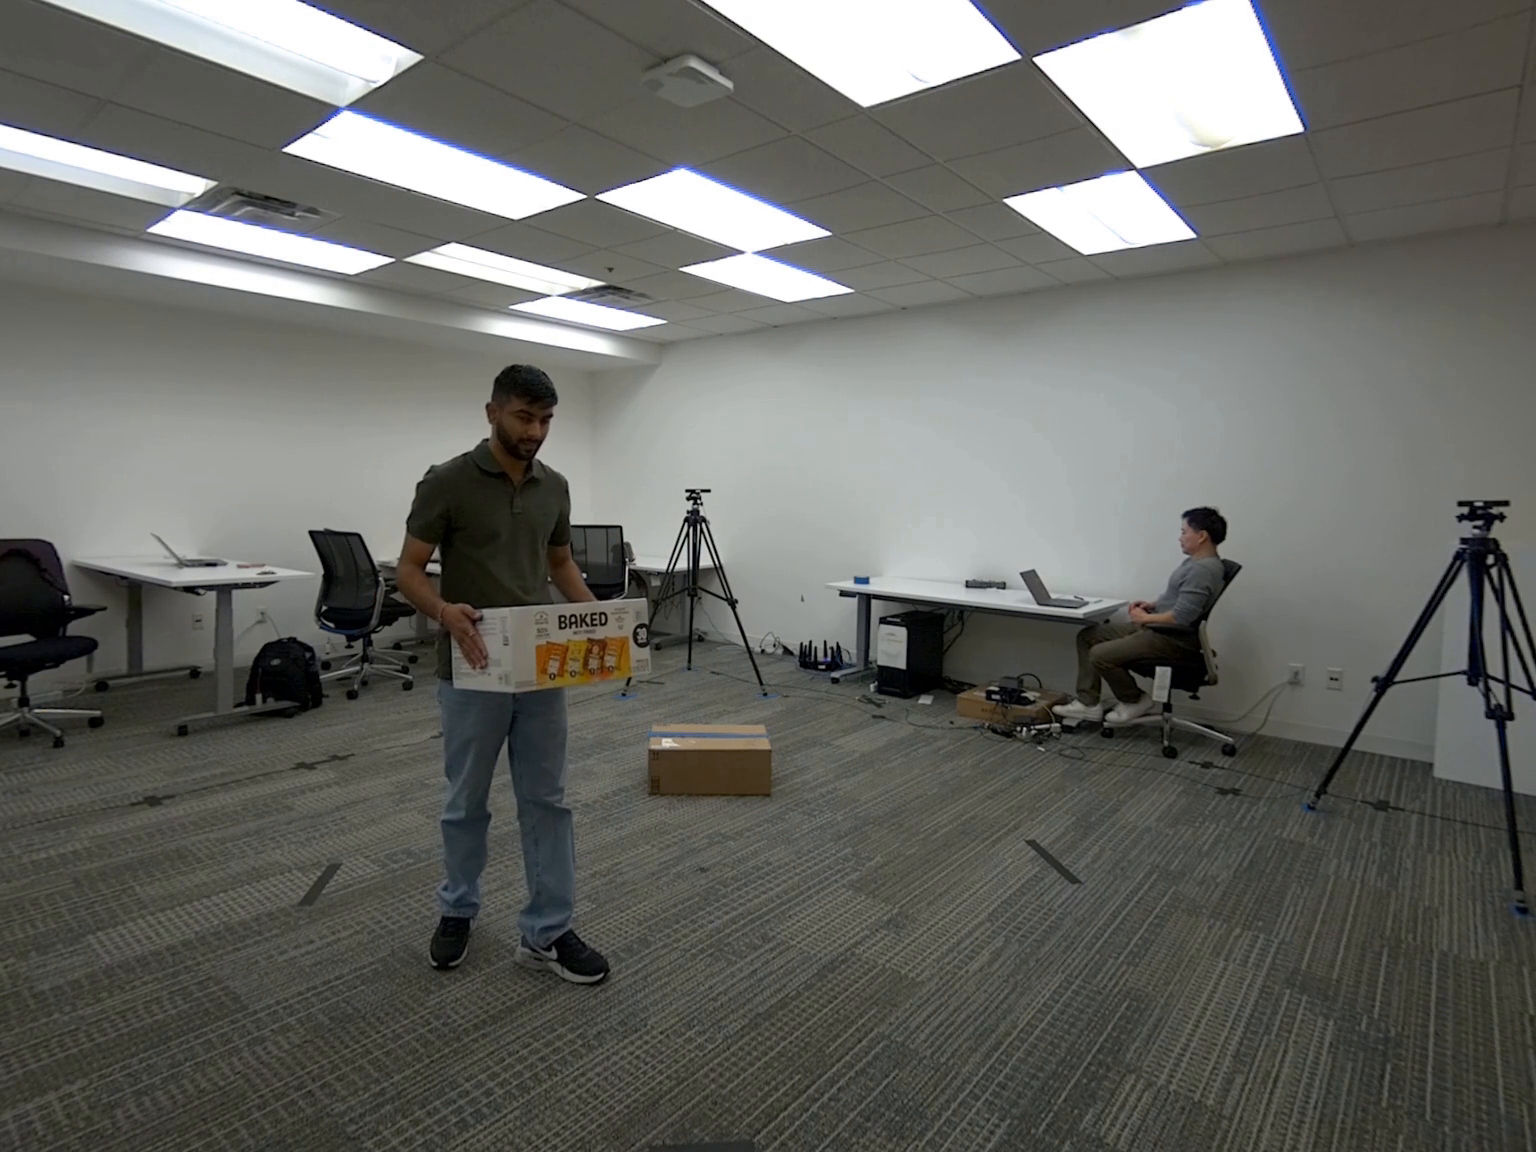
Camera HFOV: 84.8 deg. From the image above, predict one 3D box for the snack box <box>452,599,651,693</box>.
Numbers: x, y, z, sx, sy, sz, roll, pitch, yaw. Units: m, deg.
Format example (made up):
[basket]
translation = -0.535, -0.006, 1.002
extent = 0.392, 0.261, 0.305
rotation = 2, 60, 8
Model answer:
[snack box]
translation = -0.583, 0.175, 2.254
extent = 0.393, 0.206, 0.350
rotation = -3, -3, -42
